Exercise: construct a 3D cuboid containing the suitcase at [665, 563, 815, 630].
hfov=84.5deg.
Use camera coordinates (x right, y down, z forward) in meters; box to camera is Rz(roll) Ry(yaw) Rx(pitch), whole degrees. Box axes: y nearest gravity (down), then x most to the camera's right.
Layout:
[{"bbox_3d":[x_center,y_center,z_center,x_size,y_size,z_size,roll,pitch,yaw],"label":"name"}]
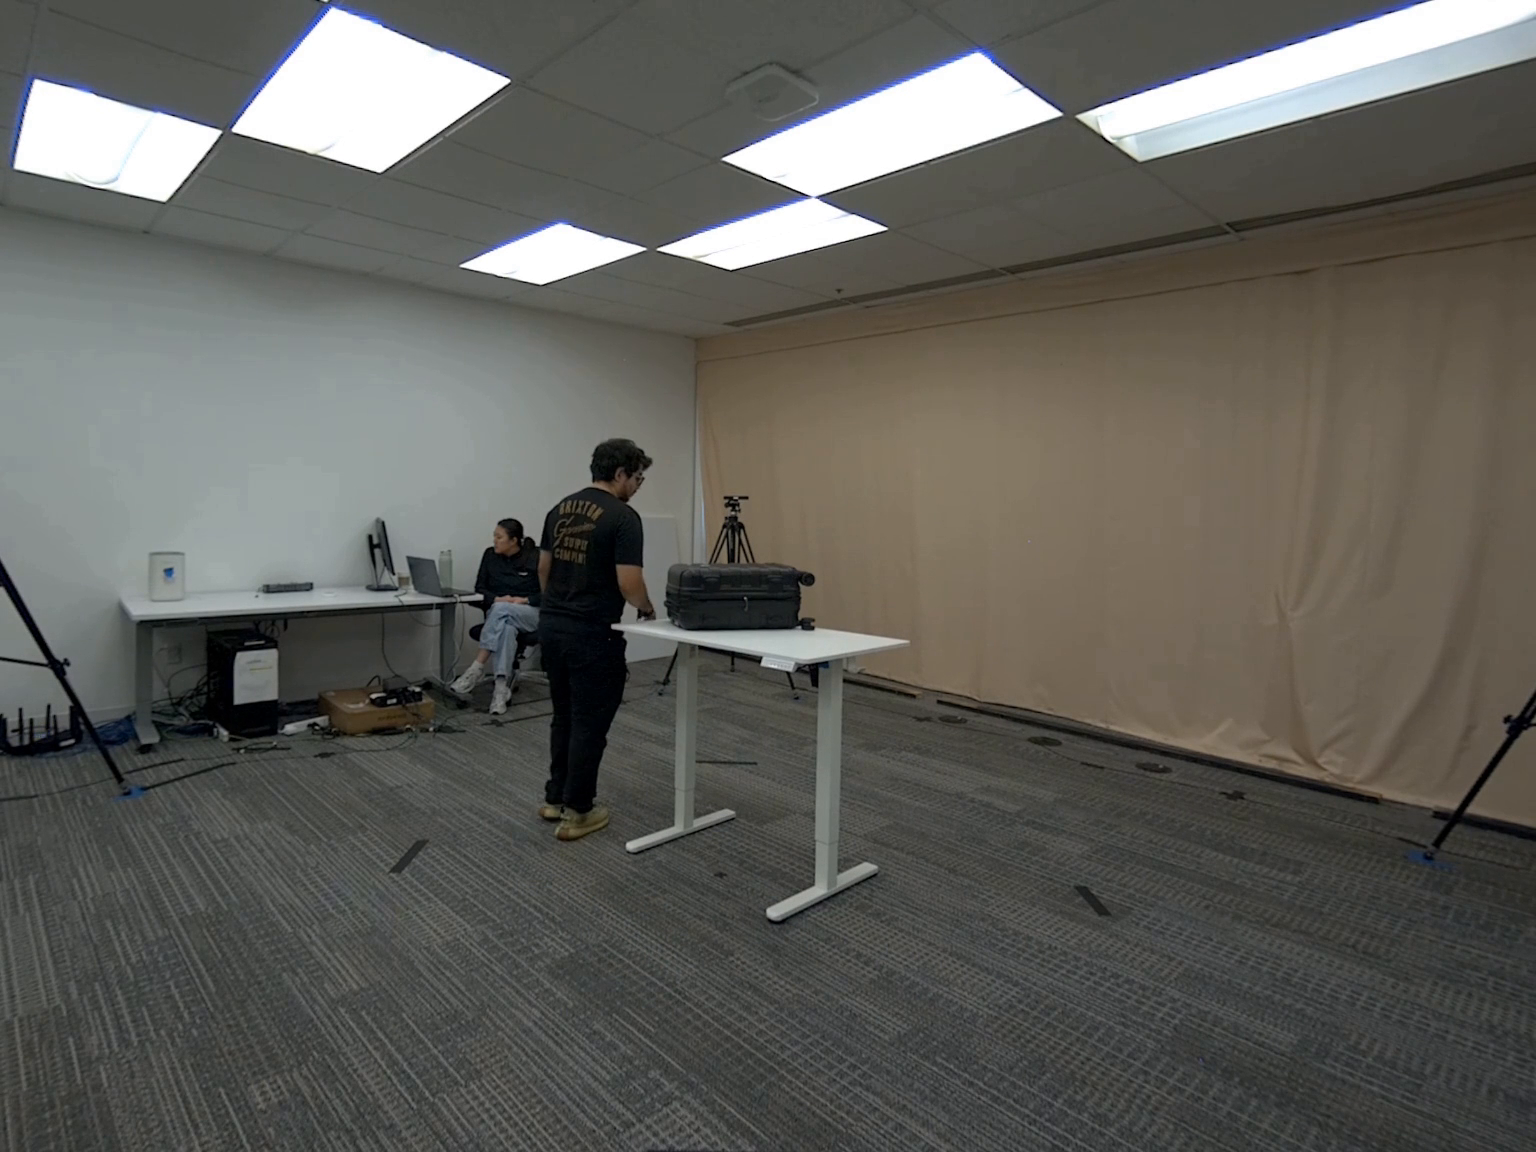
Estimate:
[{"bbox_3d":[-0.139,0.081,3.382,0.543,0.247,0.381,0,5,-16],"label":"suitcase"}]
